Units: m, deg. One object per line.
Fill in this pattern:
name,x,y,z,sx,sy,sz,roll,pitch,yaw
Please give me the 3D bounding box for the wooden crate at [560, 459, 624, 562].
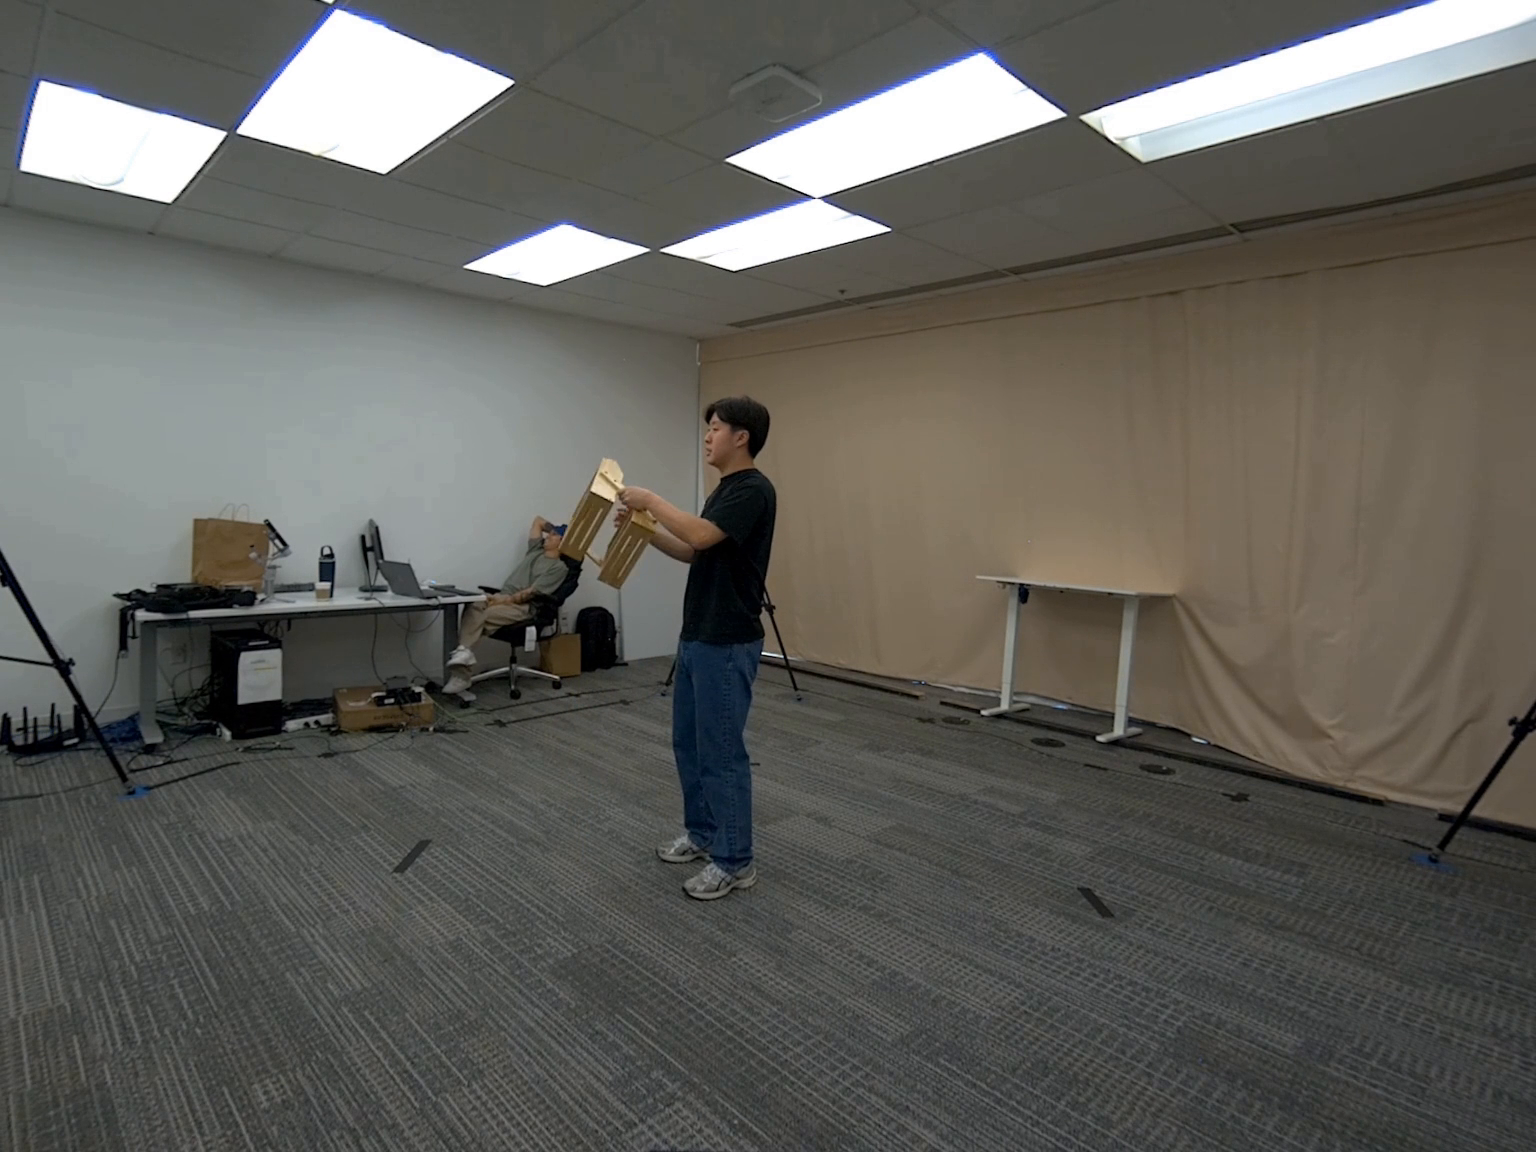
wooden crate,-0.564,-0.191,3.085,0.269,0.323,0.308,26,34,-15
